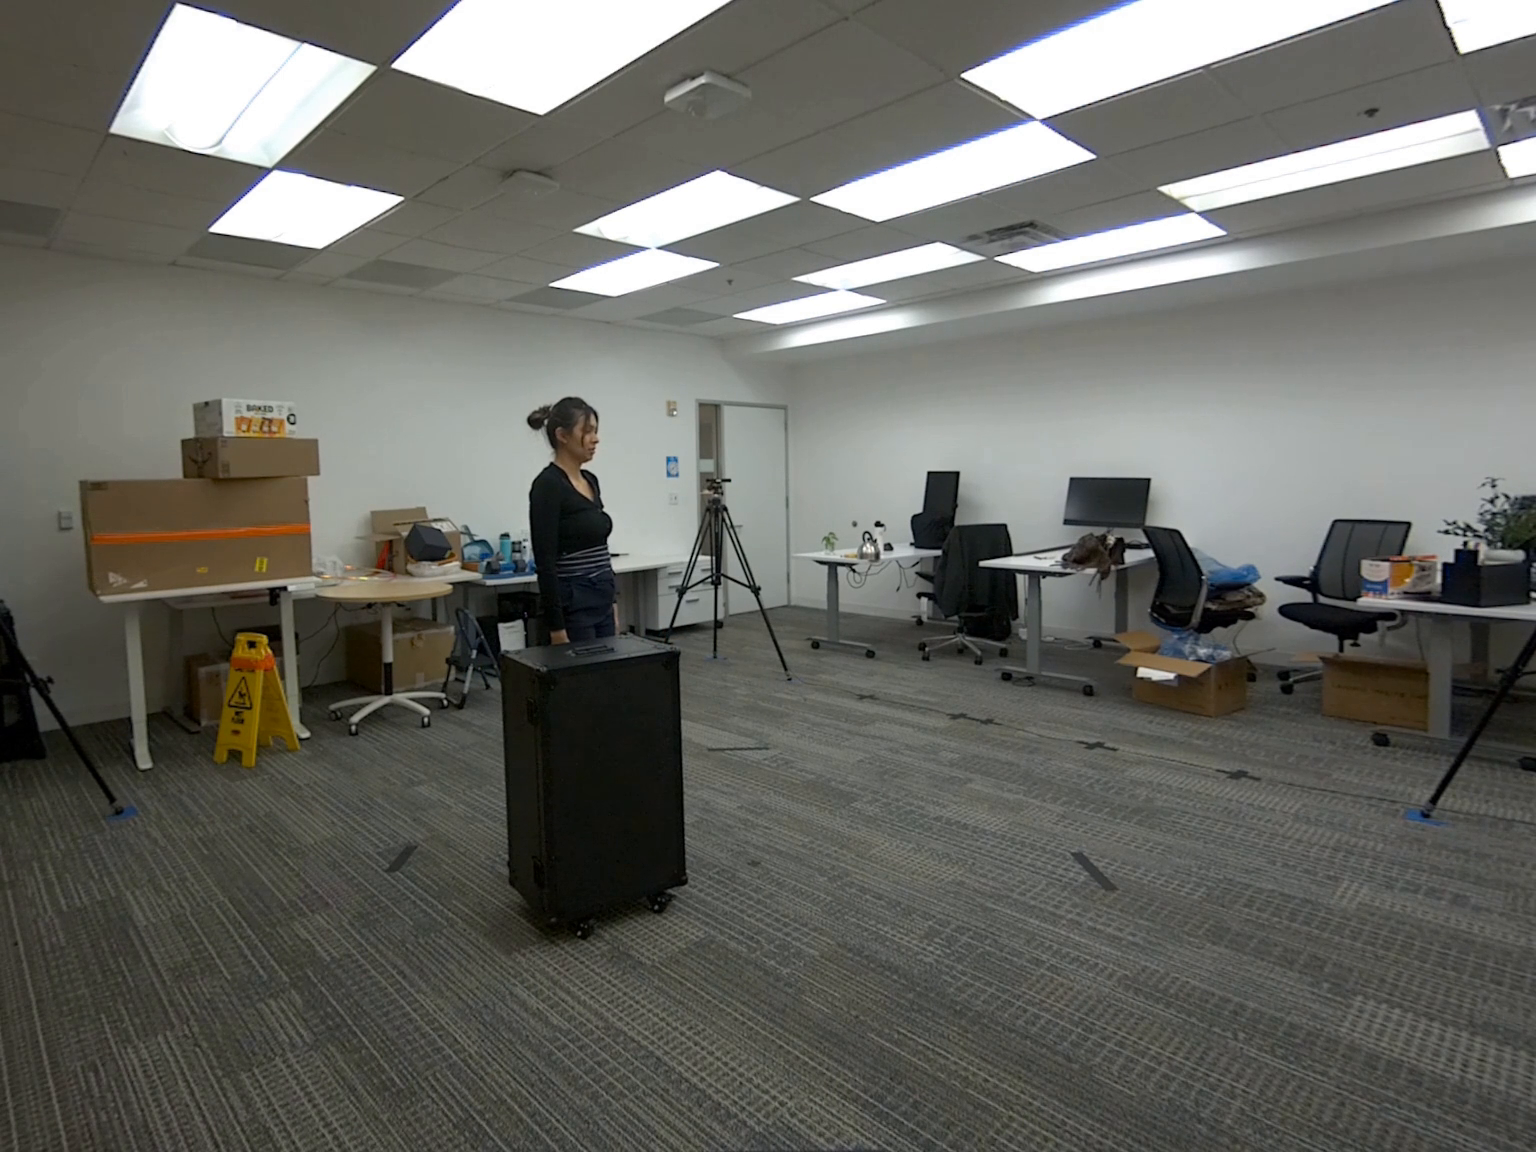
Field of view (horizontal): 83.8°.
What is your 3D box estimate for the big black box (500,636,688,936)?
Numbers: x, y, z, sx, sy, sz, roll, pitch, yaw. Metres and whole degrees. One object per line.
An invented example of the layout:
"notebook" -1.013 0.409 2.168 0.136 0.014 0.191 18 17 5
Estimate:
"big black box" -0.579 0.662 2.800 0.508 0.859 0.407 -4 4 -34
